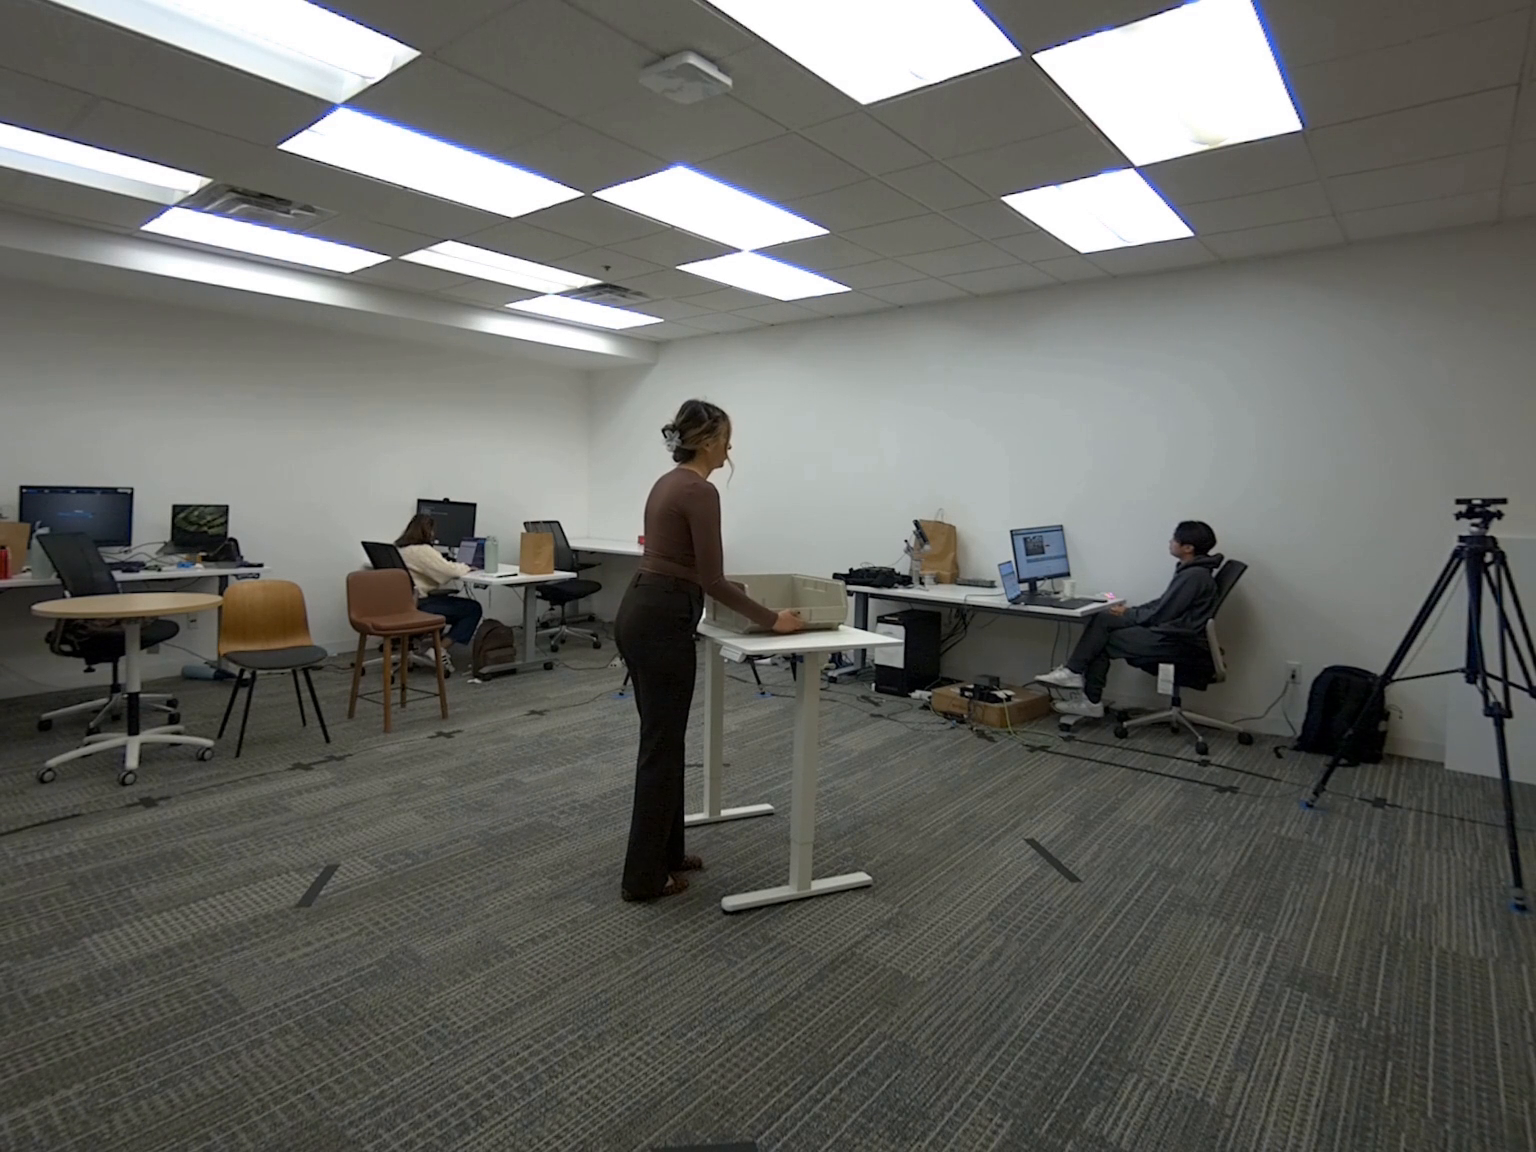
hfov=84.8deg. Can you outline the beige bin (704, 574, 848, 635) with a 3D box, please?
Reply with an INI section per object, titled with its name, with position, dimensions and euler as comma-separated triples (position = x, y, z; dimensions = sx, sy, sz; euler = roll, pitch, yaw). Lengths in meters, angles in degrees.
[beige bin]
position = 0.014, 0.098, 3.156
dimensions = 0.411, 0.188, 0.388
euler = -2, 4, -30
